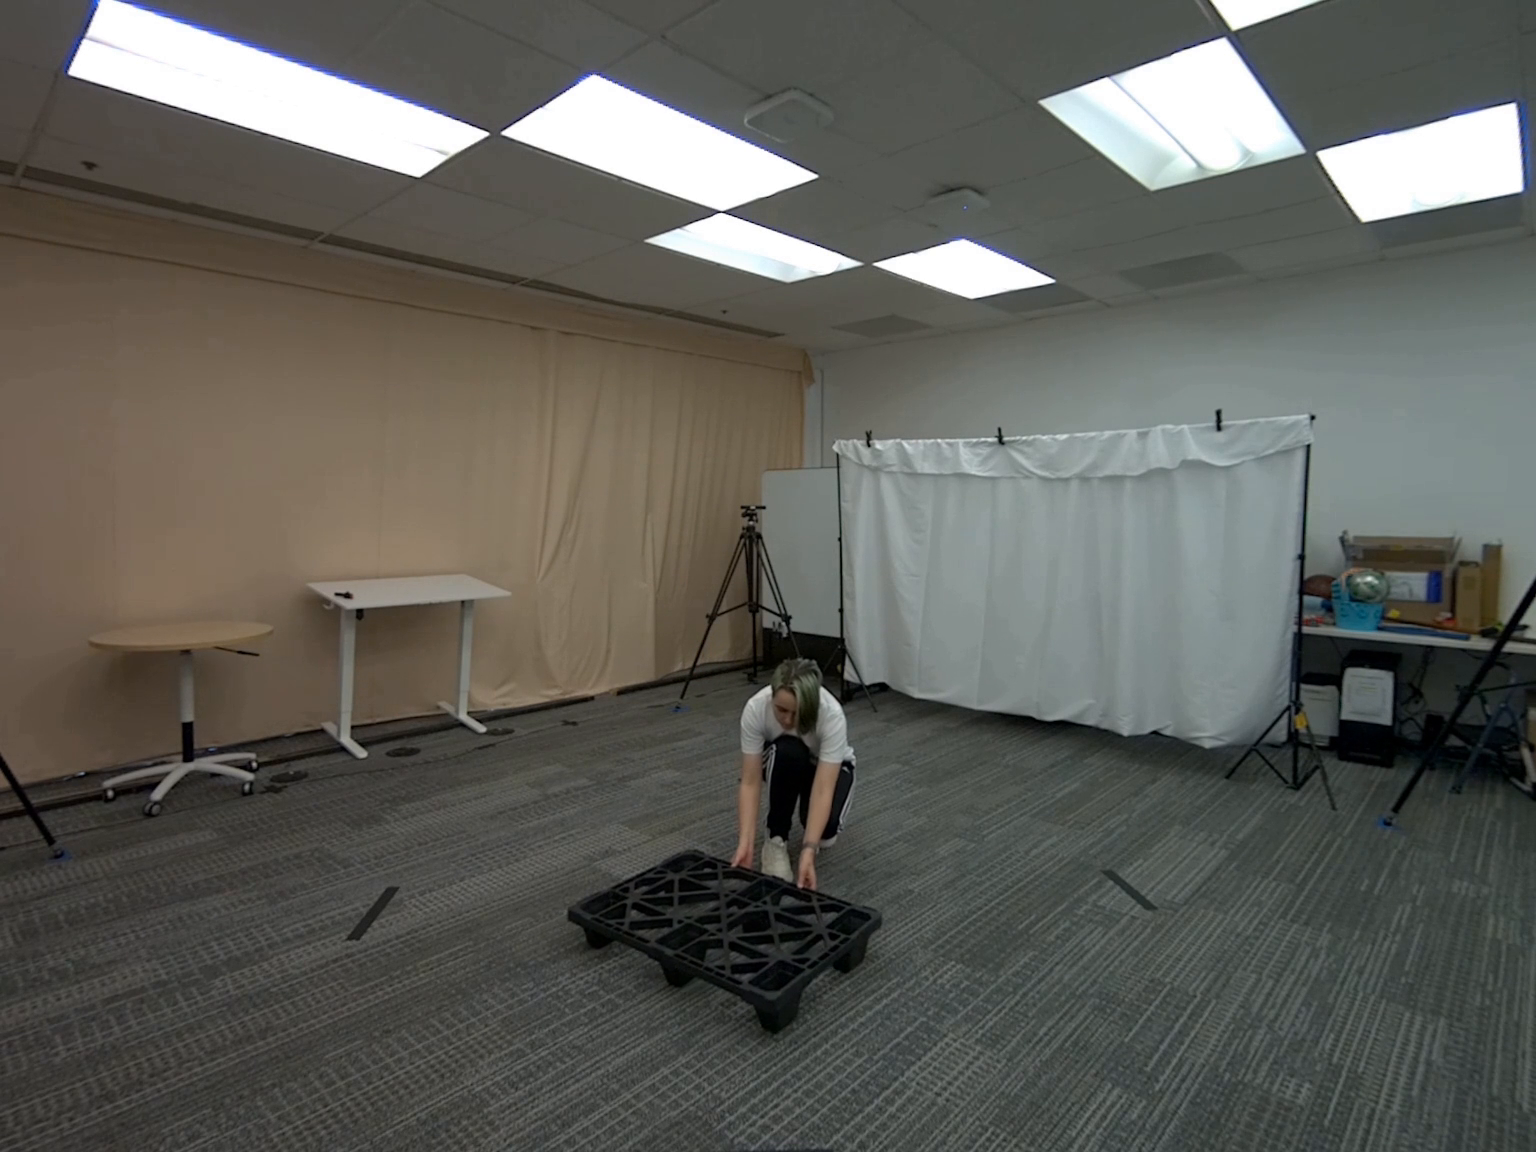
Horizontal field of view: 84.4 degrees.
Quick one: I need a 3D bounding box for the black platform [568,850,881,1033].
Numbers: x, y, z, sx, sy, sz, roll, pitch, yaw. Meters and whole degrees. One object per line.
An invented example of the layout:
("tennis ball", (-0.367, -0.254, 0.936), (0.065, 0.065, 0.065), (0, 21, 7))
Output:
("black platform", (-0.144, 1.111, 2.625), (0.832, 0.143, 0.587), (4, 6, 37))
